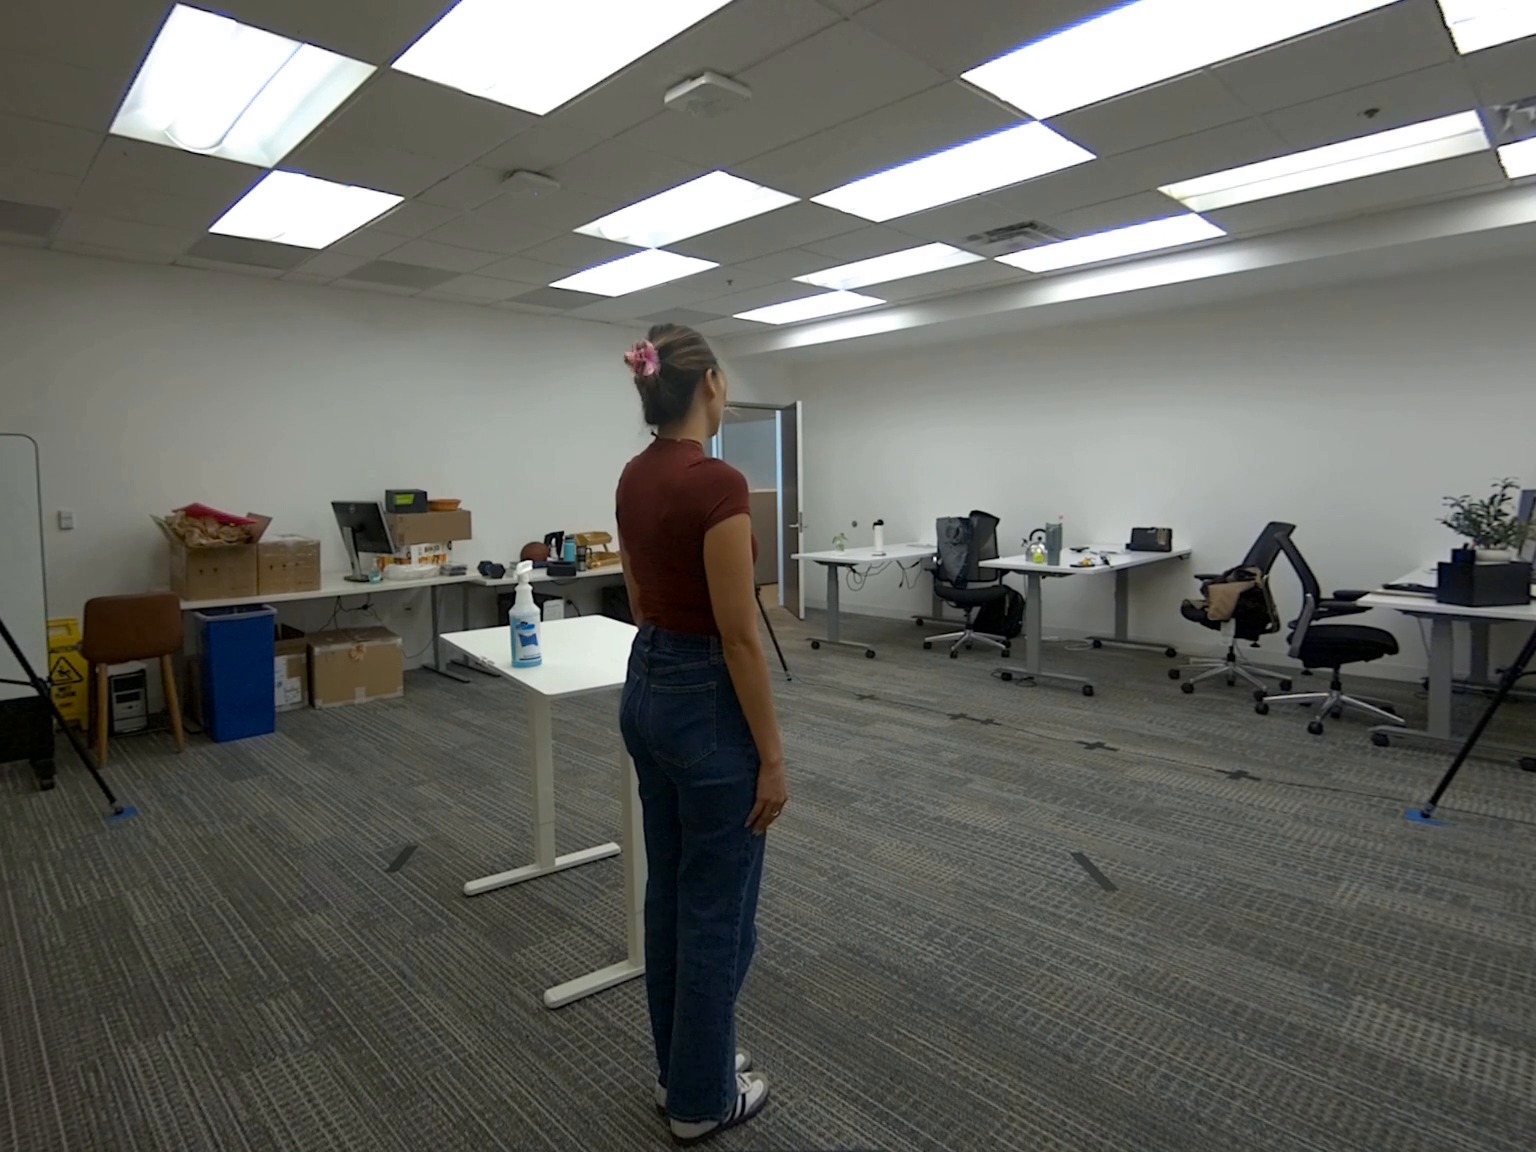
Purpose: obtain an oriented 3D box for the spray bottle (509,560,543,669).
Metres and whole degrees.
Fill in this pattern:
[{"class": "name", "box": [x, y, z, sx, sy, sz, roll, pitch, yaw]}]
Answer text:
[{"class": "spray bottle", "box": [-0.699, 0.112, 2.447, 0.089, 0.296, 0.088, 3, 4, 36]}]
